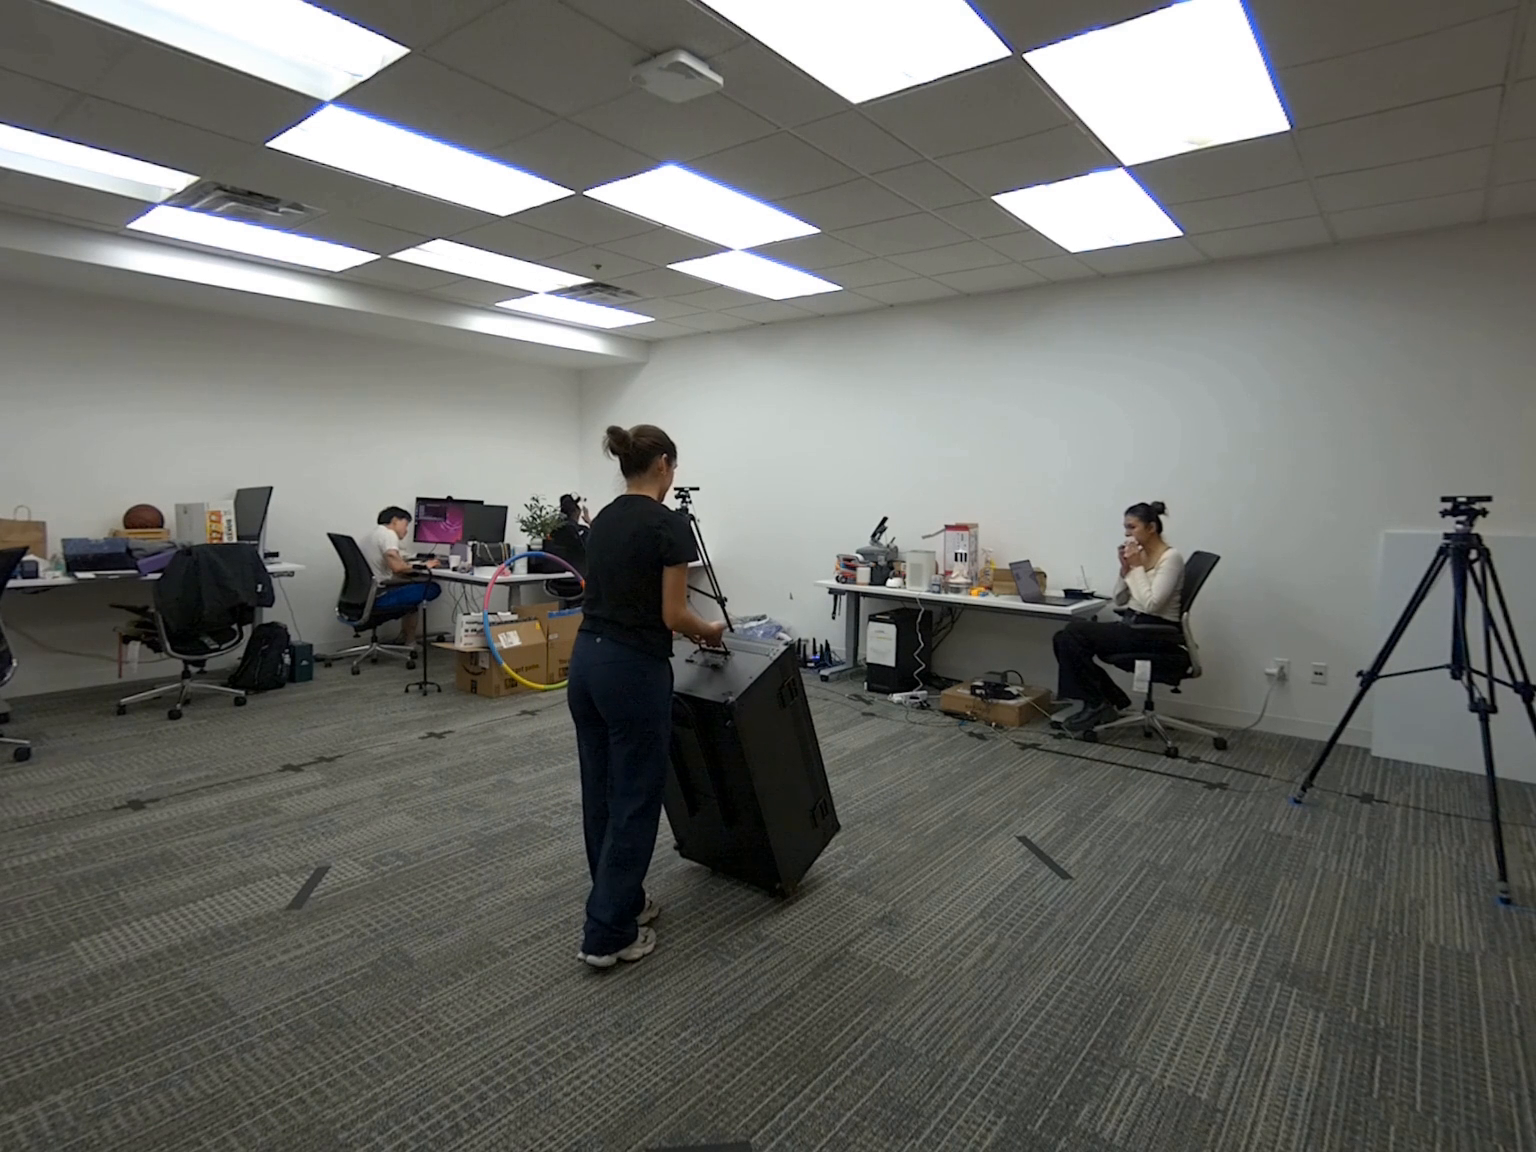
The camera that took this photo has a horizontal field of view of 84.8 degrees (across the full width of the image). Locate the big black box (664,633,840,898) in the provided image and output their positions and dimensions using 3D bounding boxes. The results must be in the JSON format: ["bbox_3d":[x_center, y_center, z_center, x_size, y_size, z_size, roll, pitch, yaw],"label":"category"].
[{"bbox_3d":[-0.098,0.653,2.946,0.539,0.840,0.393,4,29,39],"label":"big black box"}]
